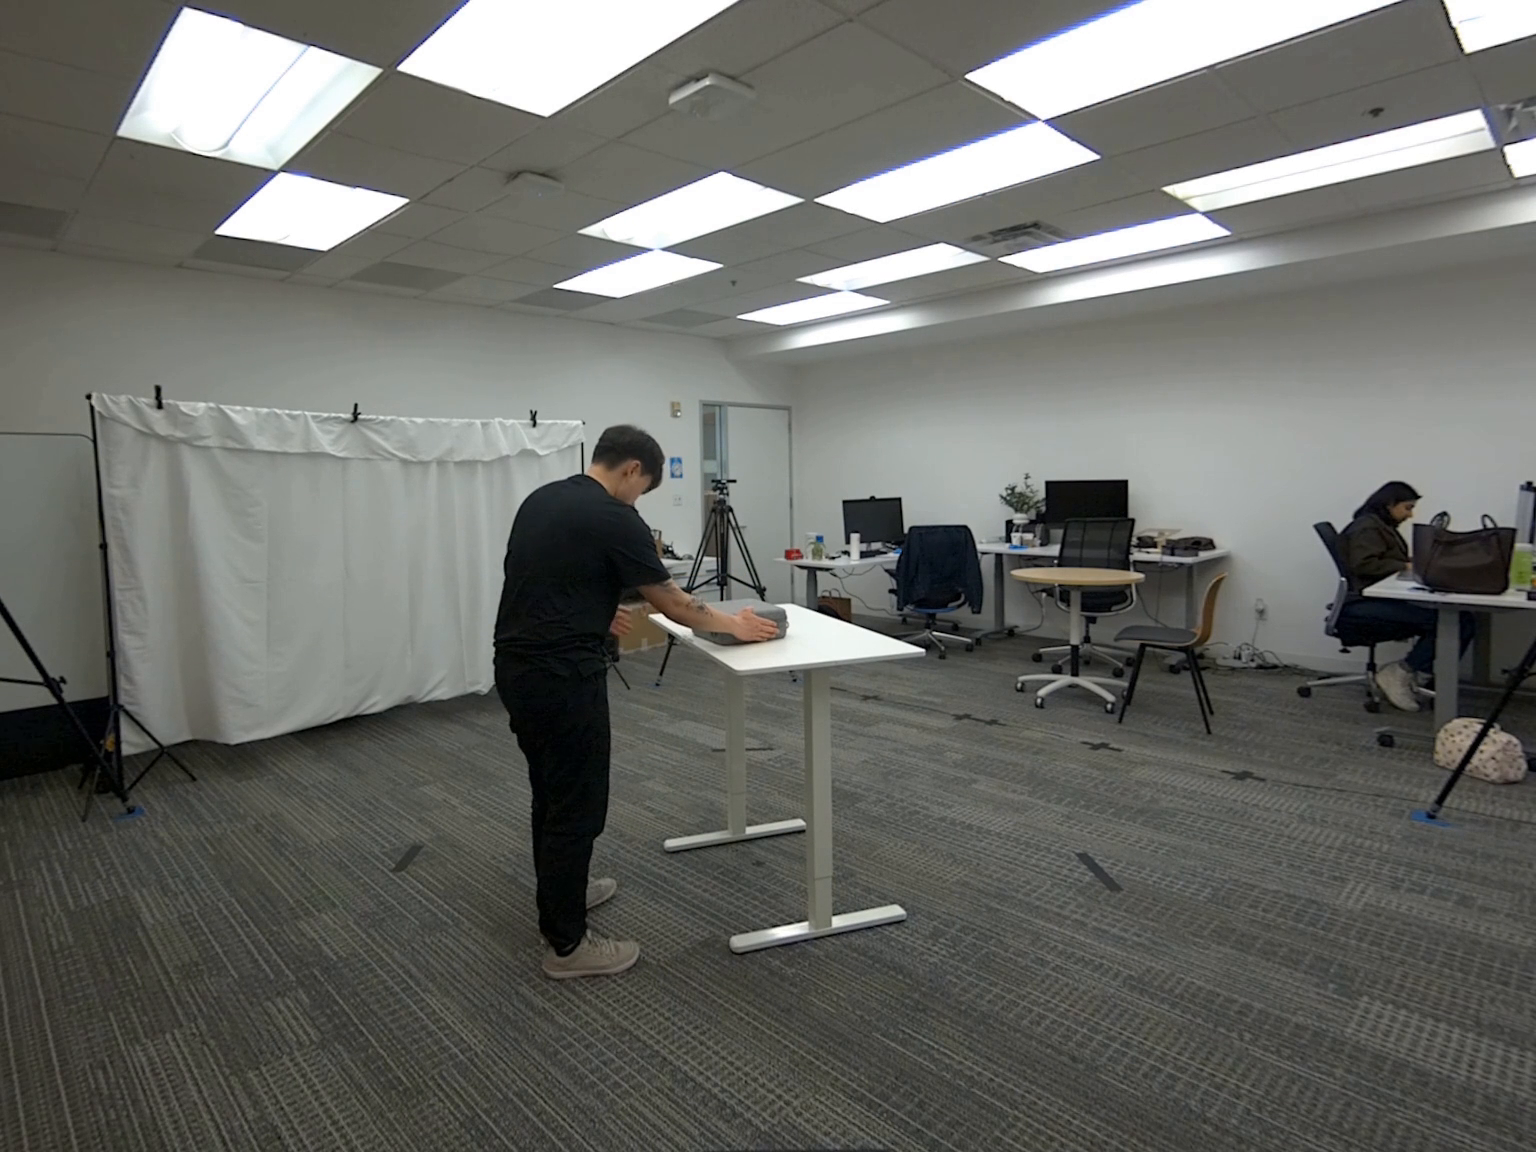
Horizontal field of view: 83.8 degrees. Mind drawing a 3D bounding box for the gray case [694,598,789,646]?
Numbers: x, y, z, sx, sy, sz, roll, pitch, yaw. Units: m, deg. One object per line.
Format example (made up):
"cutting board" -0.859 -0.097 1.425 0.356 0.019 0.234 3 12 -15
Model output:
"gray case" -0.091 0.148 2.825 0.251 0.104 0.268 -4 8 -29
